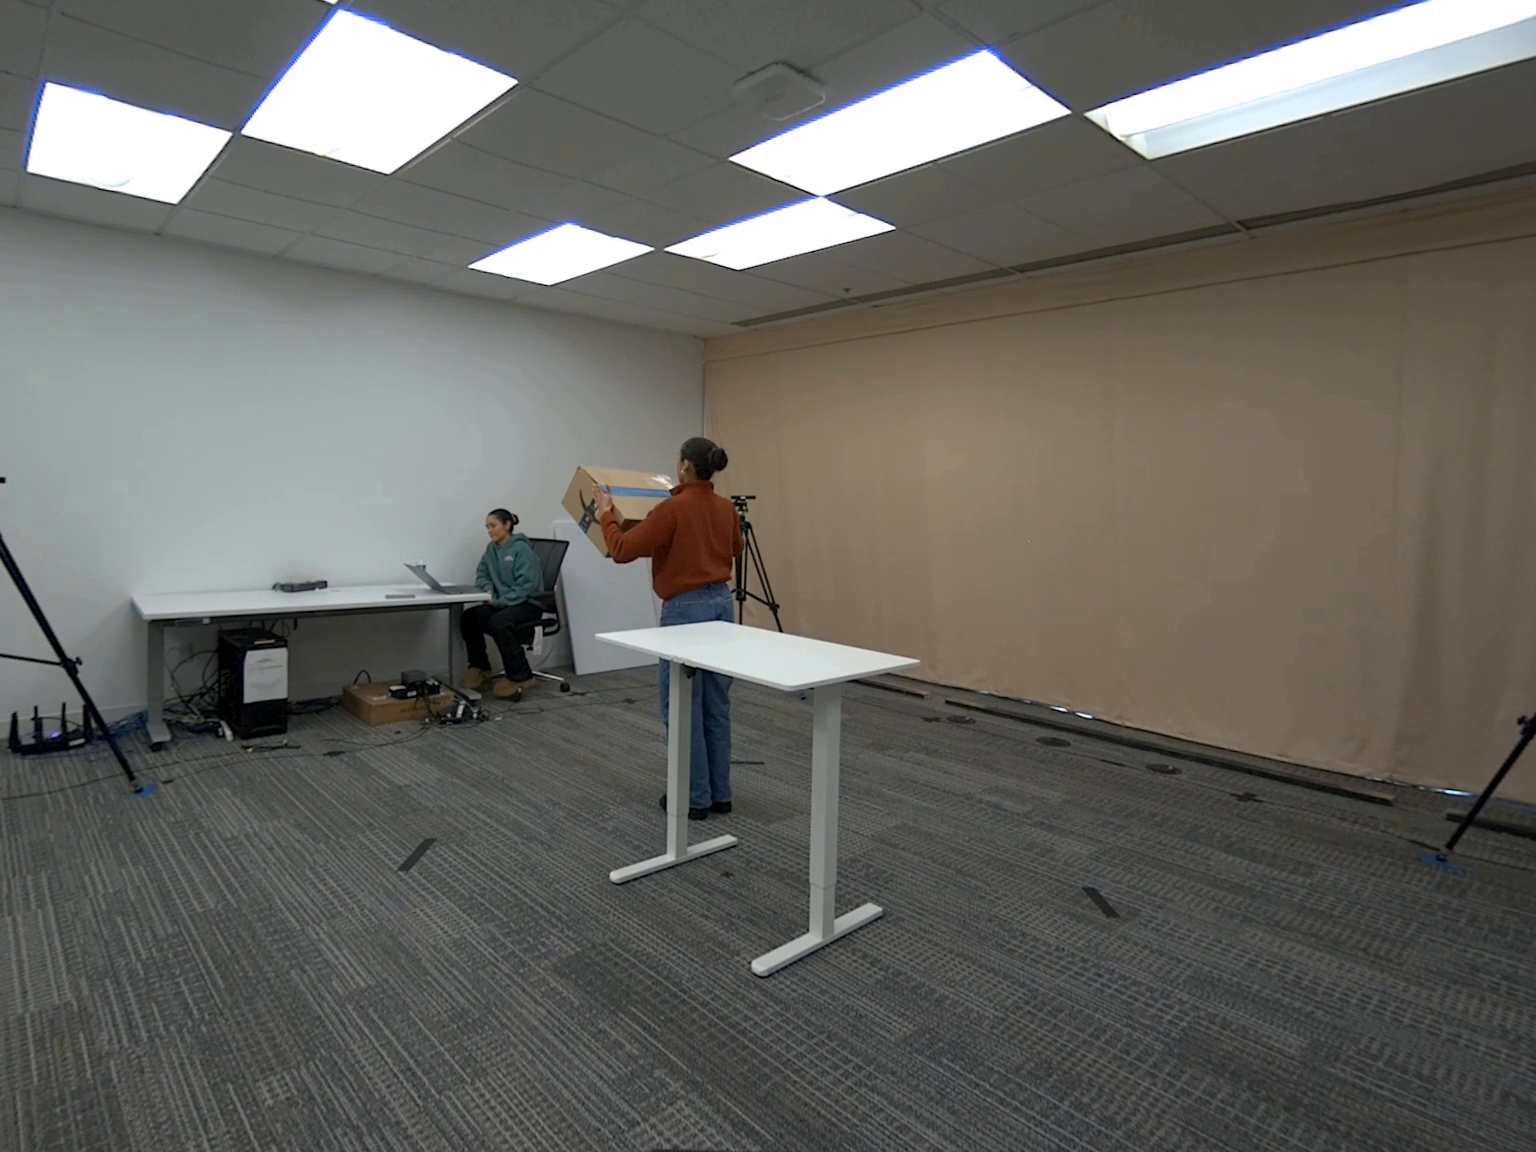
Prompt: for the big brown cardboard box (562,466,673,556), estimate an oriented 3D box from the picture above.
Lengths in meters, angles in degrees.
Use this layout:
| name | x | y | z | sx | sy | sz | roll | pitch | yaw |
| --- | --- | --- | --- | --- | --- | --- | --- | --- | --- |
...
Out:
| name | x | y | z | sx | sy | sz | roll | pitch | yaw |
| --- | --- | --- | --- | --- | --- | --- | --- | --- | --- |
| big brown cardboard box | -0.610 | -0.289 | 3.961 | 0.575 | 0.232 | 0.430 | -2 | 37 | -49 |
